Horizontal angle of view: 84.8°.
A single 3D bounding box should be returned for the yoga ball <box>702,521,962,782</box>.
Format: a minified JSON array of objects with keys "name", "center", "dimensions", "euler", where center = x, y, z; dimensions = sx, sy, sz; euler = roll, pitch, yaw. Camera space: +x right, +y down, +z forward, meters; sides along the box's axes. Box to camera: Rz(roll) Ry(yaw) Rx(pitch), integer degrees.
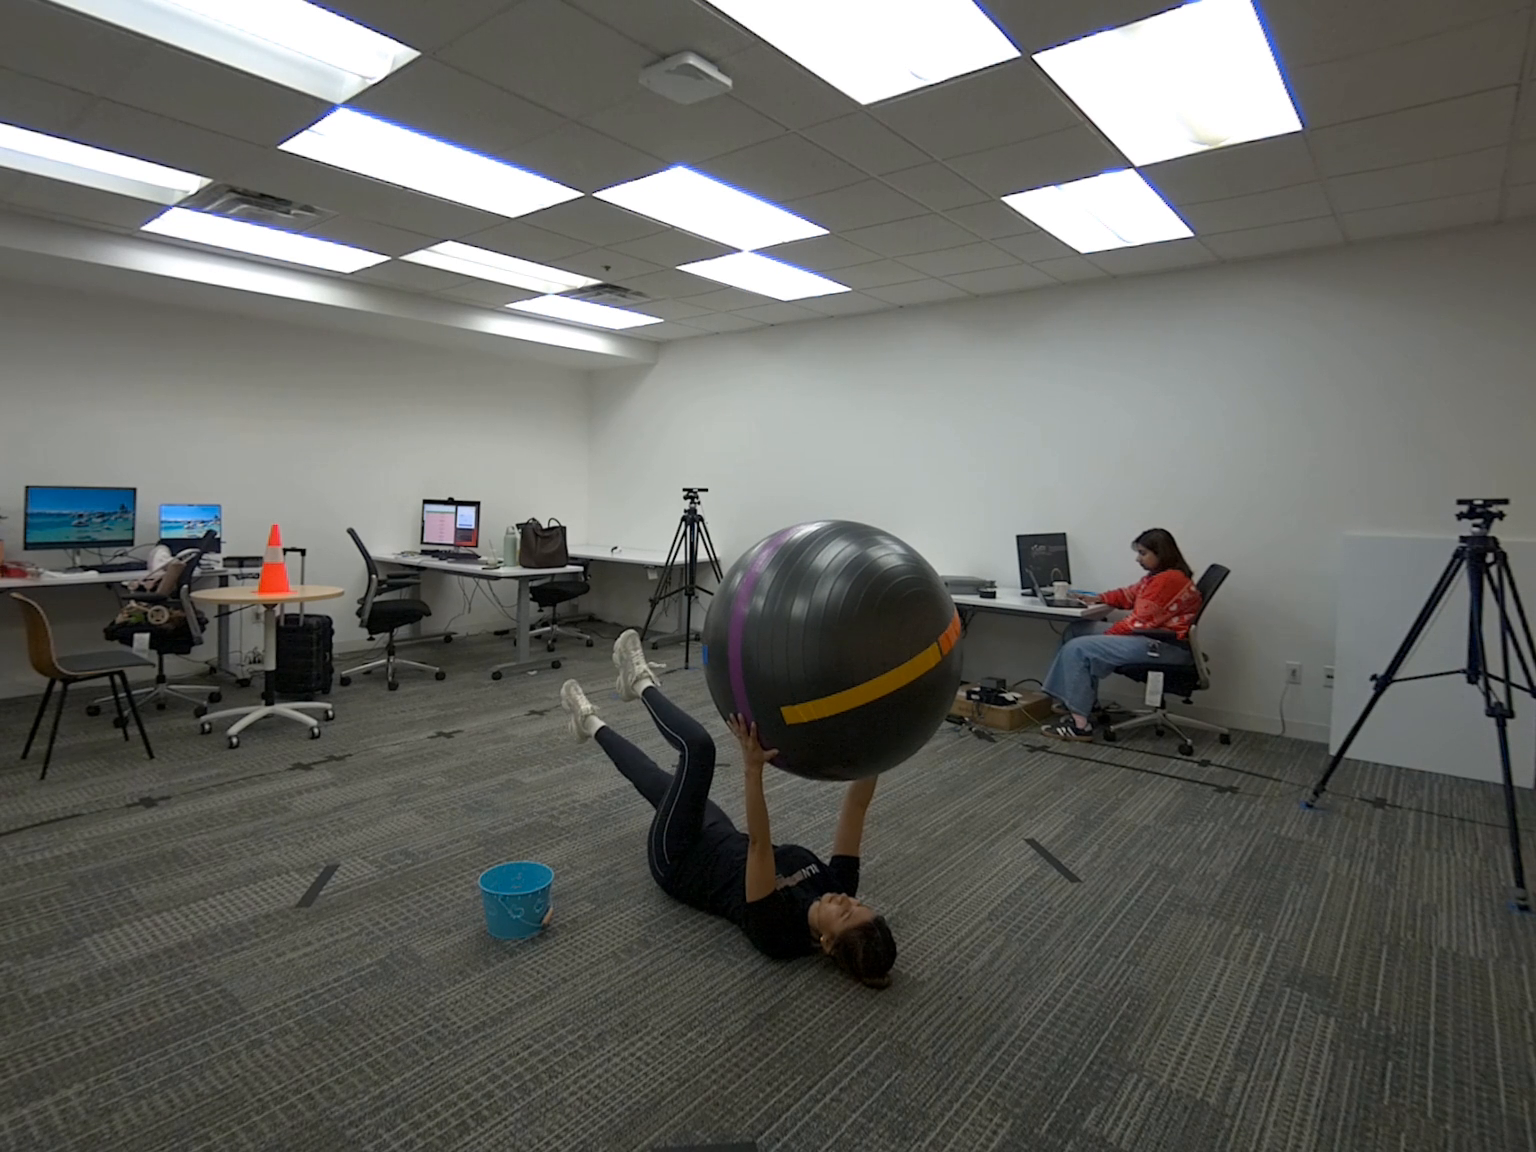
[{"name":"yoga ball","center":[0.179,0.212,2.504],"dimensions":[0.757,0.756,0.761],"euler":[-3,3,-2]}]
